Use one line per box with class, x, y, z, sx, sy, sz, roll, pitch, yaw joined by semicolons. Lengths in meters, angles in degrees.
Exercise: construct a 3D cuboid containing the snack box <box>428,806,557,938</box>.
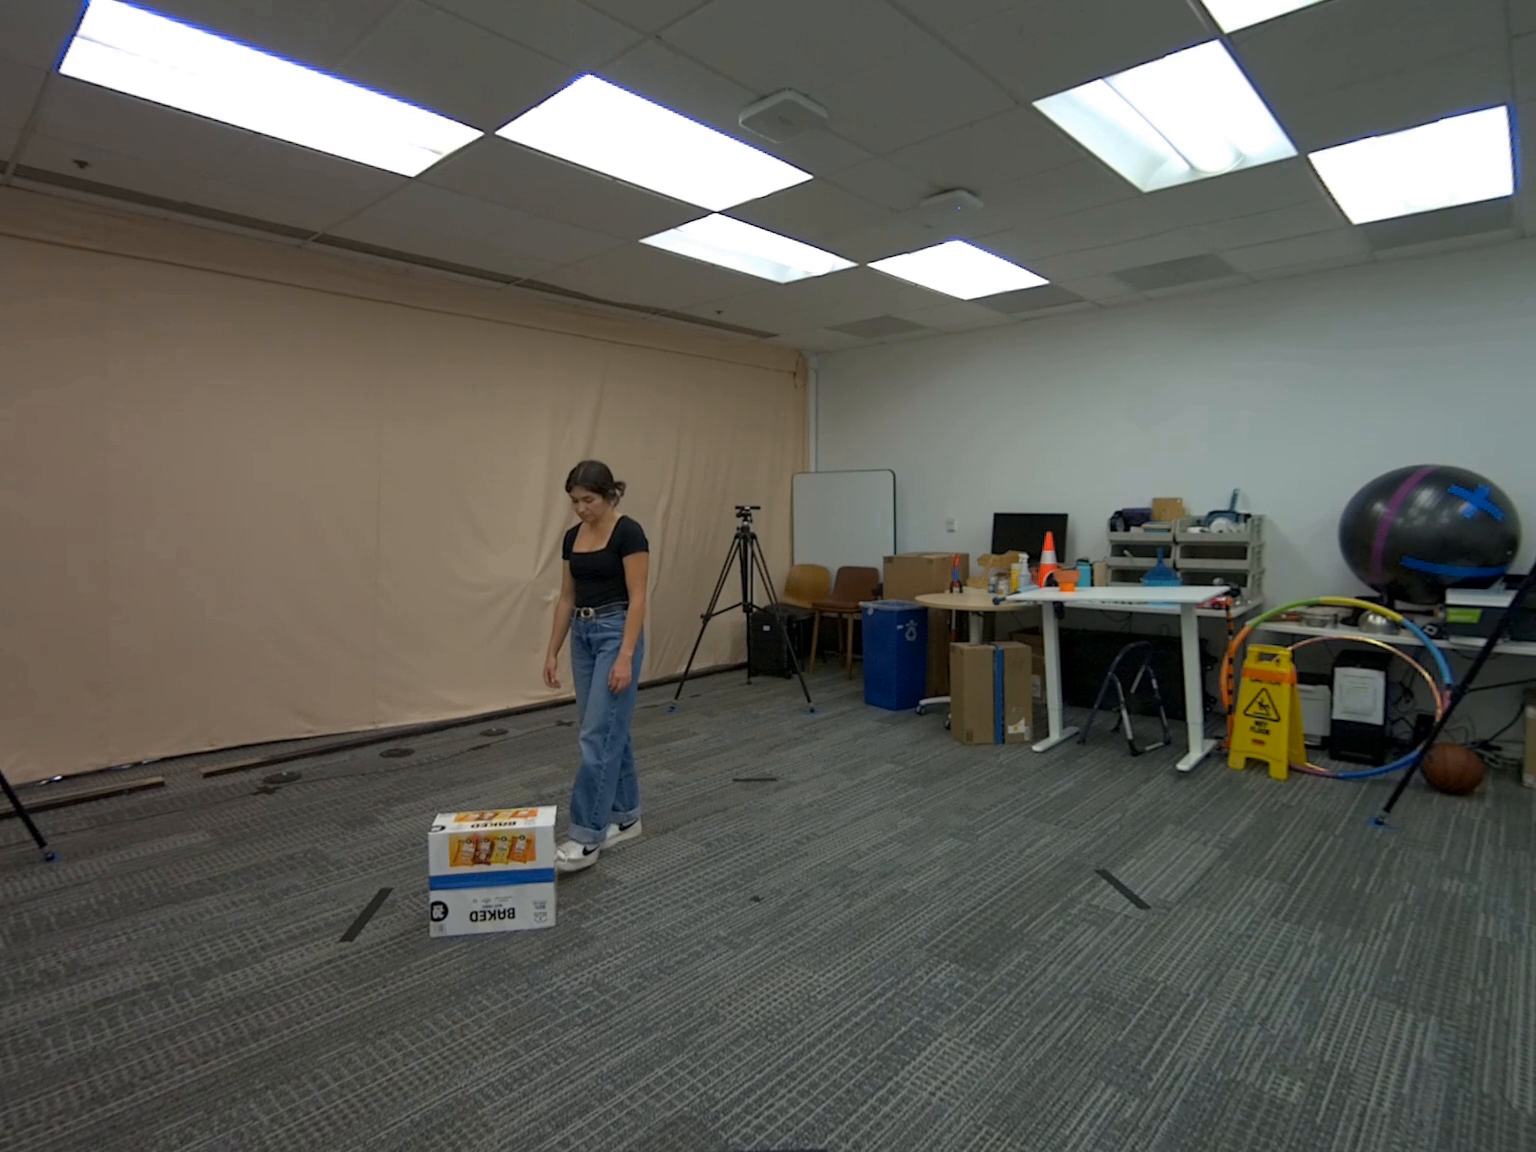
snack box;-0.930;0.992;2.852;0.401;0.340;0.207;0;1;-8
